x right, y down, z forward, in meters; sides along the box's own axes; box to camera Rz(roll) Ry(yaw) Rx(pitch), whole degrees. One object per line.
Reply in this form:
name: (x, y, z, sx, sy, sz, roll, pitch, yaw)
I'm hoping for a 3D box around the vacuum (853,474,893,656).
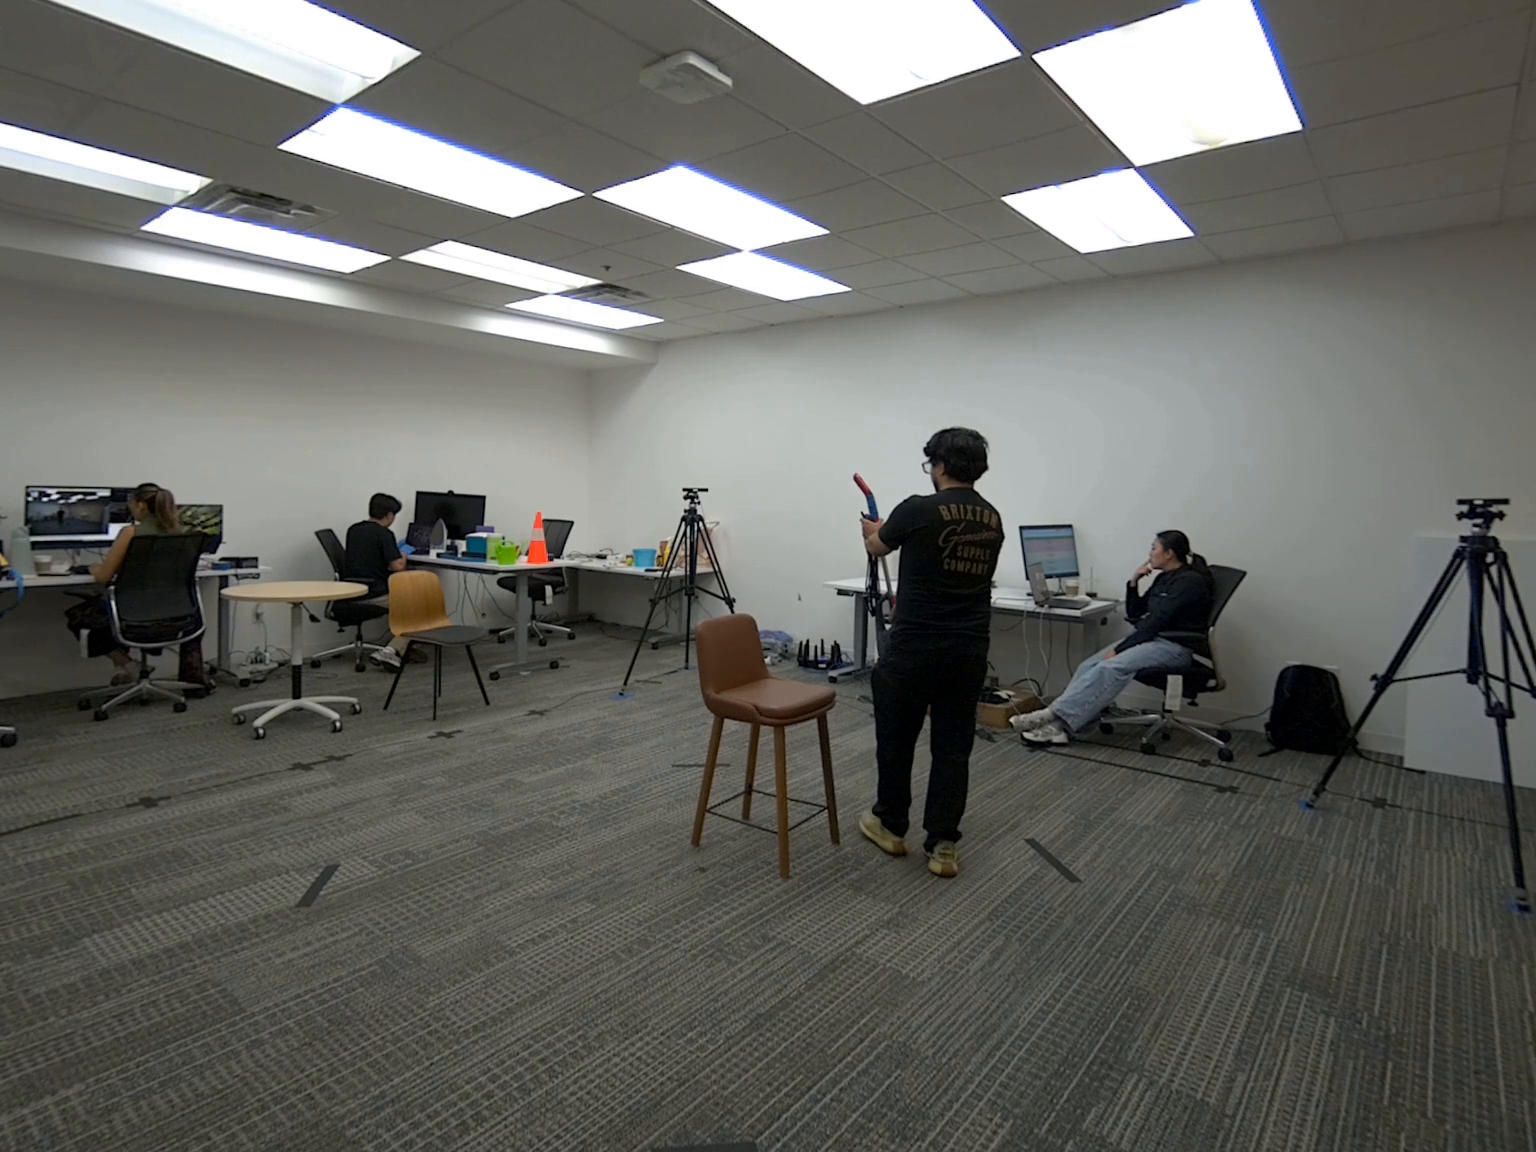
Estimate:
vacuum: (0.475, 0.071, 3.665, 0.147, 1.047, 0.247, -12, 2, 39)
